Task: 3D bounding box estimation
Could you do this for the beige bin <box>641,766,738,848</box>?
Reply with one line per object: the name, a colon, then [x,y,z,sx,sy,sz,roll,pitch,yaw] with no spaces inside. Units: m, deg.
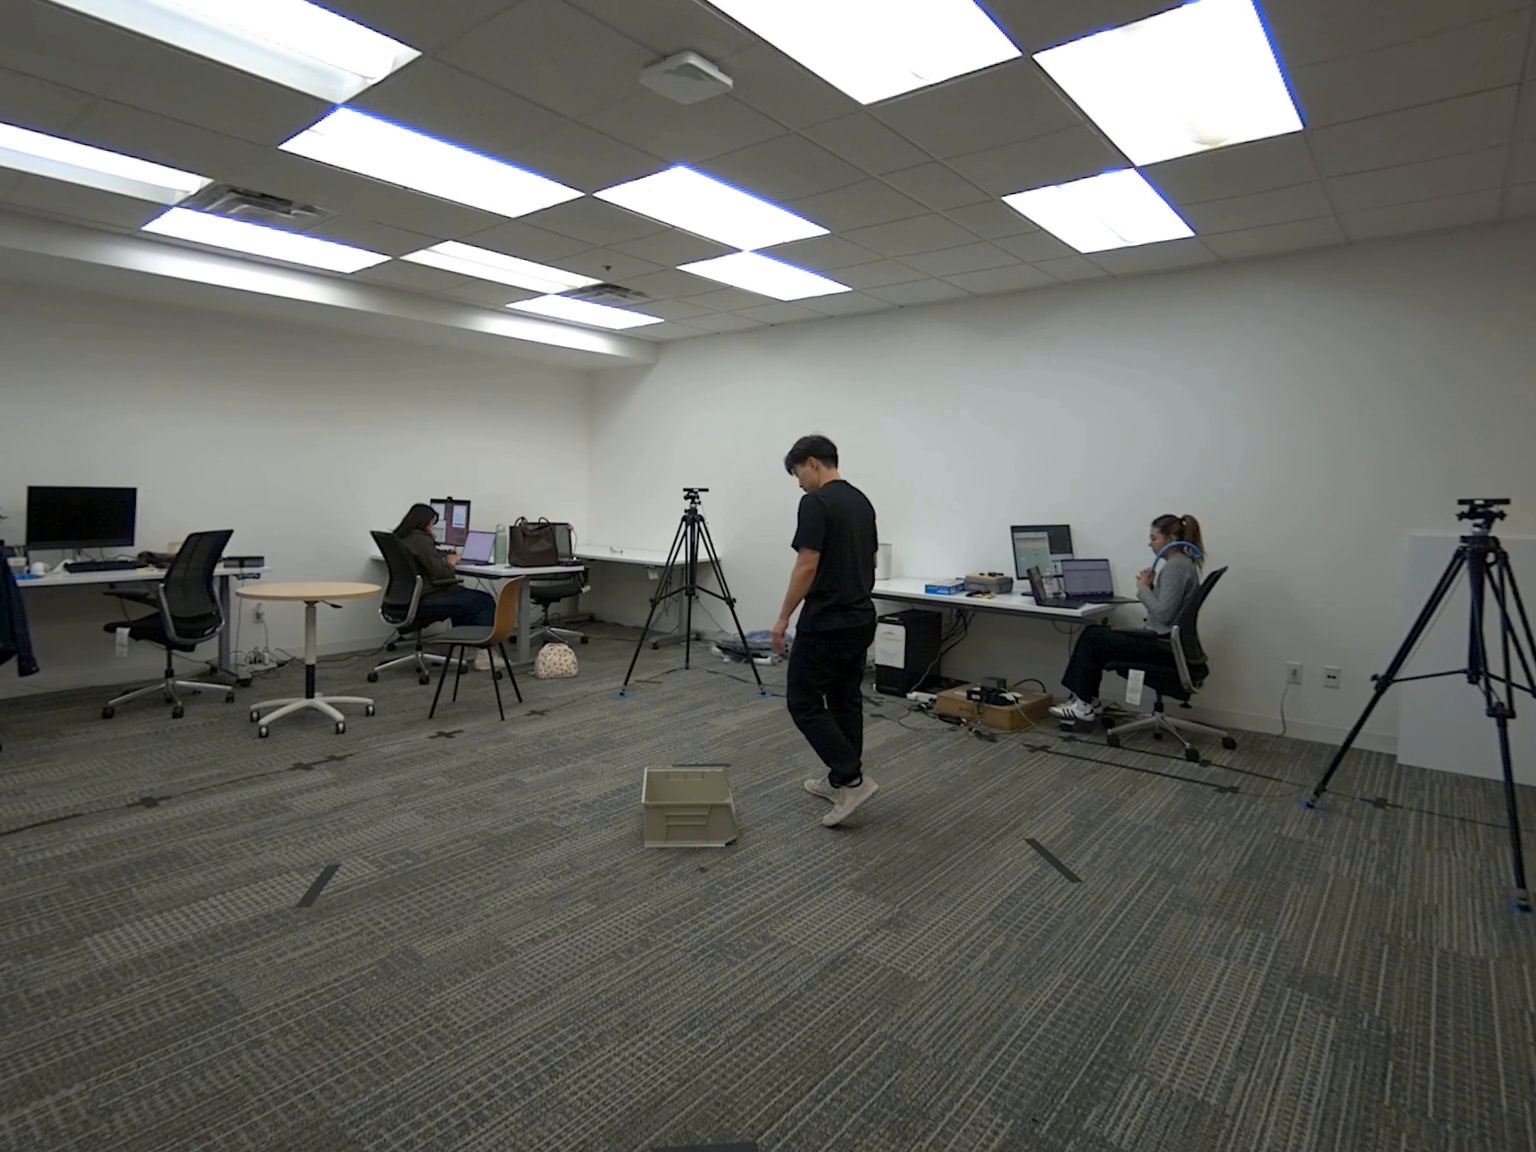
beige bin: [-0.341,0.943,3.502,0.375,0.188,0.426,0,6,-5]
